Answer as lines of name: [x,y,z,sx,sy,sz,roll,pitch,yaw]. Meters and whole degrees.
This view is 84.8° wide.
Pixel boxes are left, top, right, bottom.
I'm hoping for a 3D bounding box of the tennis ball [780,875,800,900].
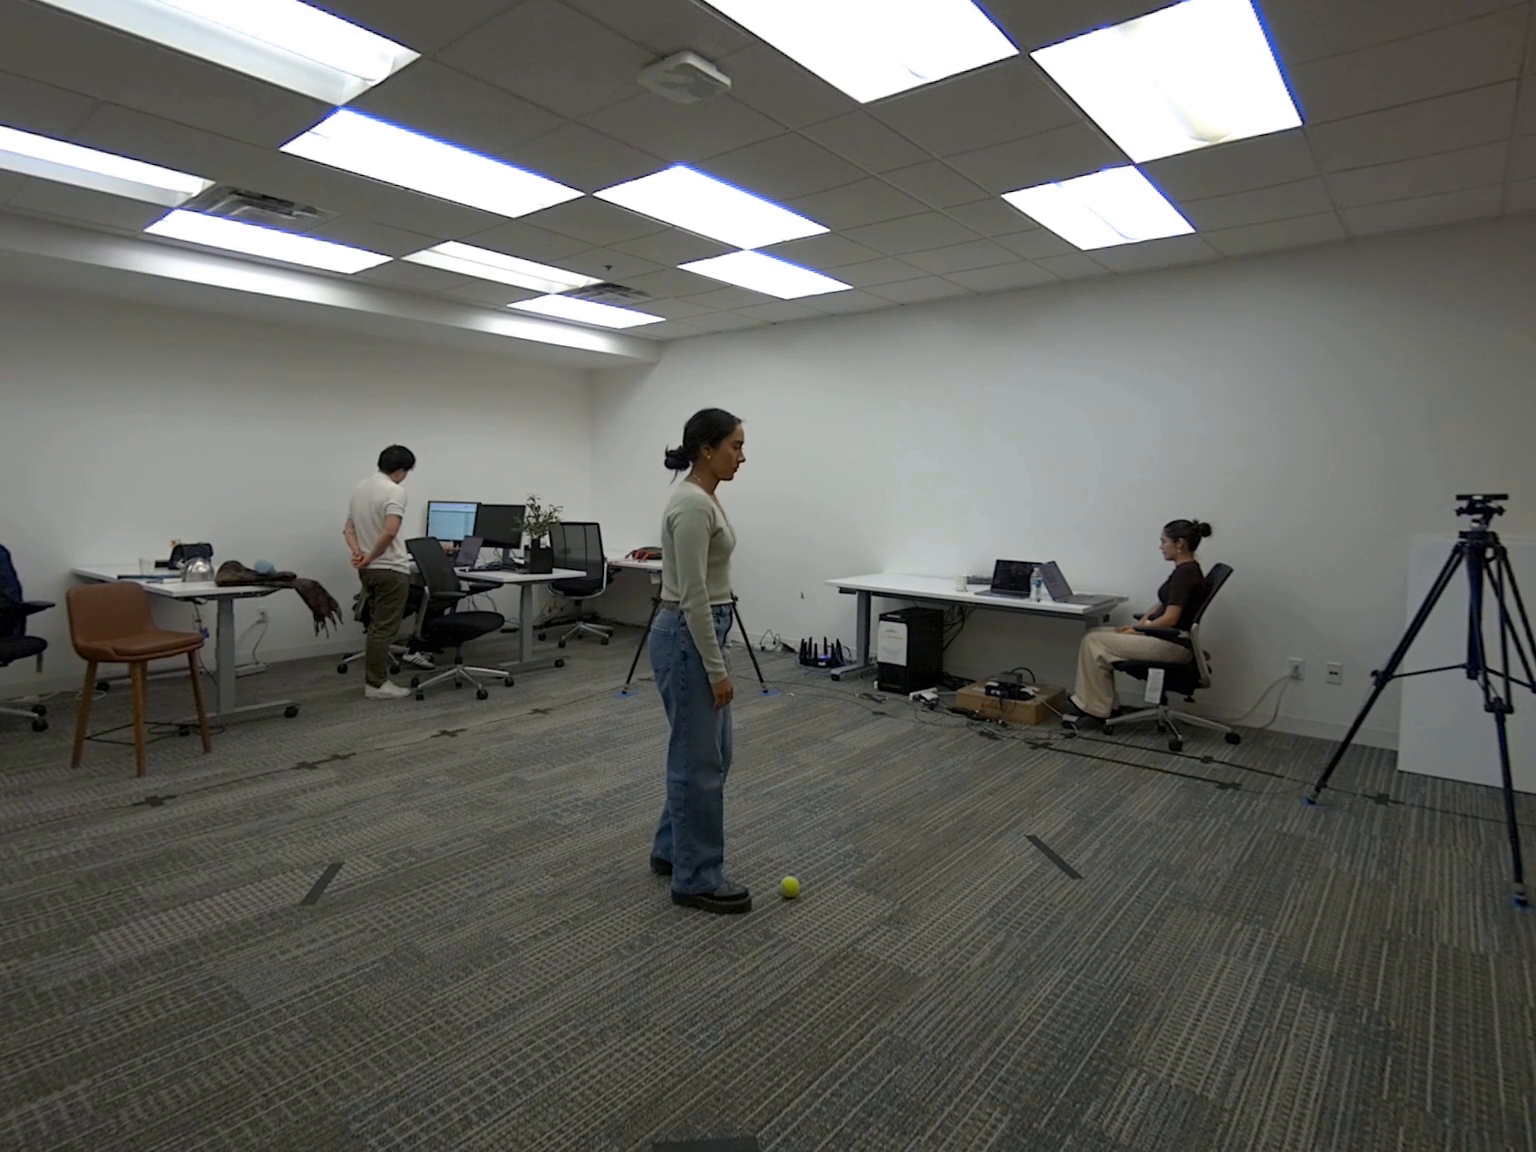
tennis ball: [0.063,1.045,2.903,0.066,0.066,0.067,1,4,-2]
